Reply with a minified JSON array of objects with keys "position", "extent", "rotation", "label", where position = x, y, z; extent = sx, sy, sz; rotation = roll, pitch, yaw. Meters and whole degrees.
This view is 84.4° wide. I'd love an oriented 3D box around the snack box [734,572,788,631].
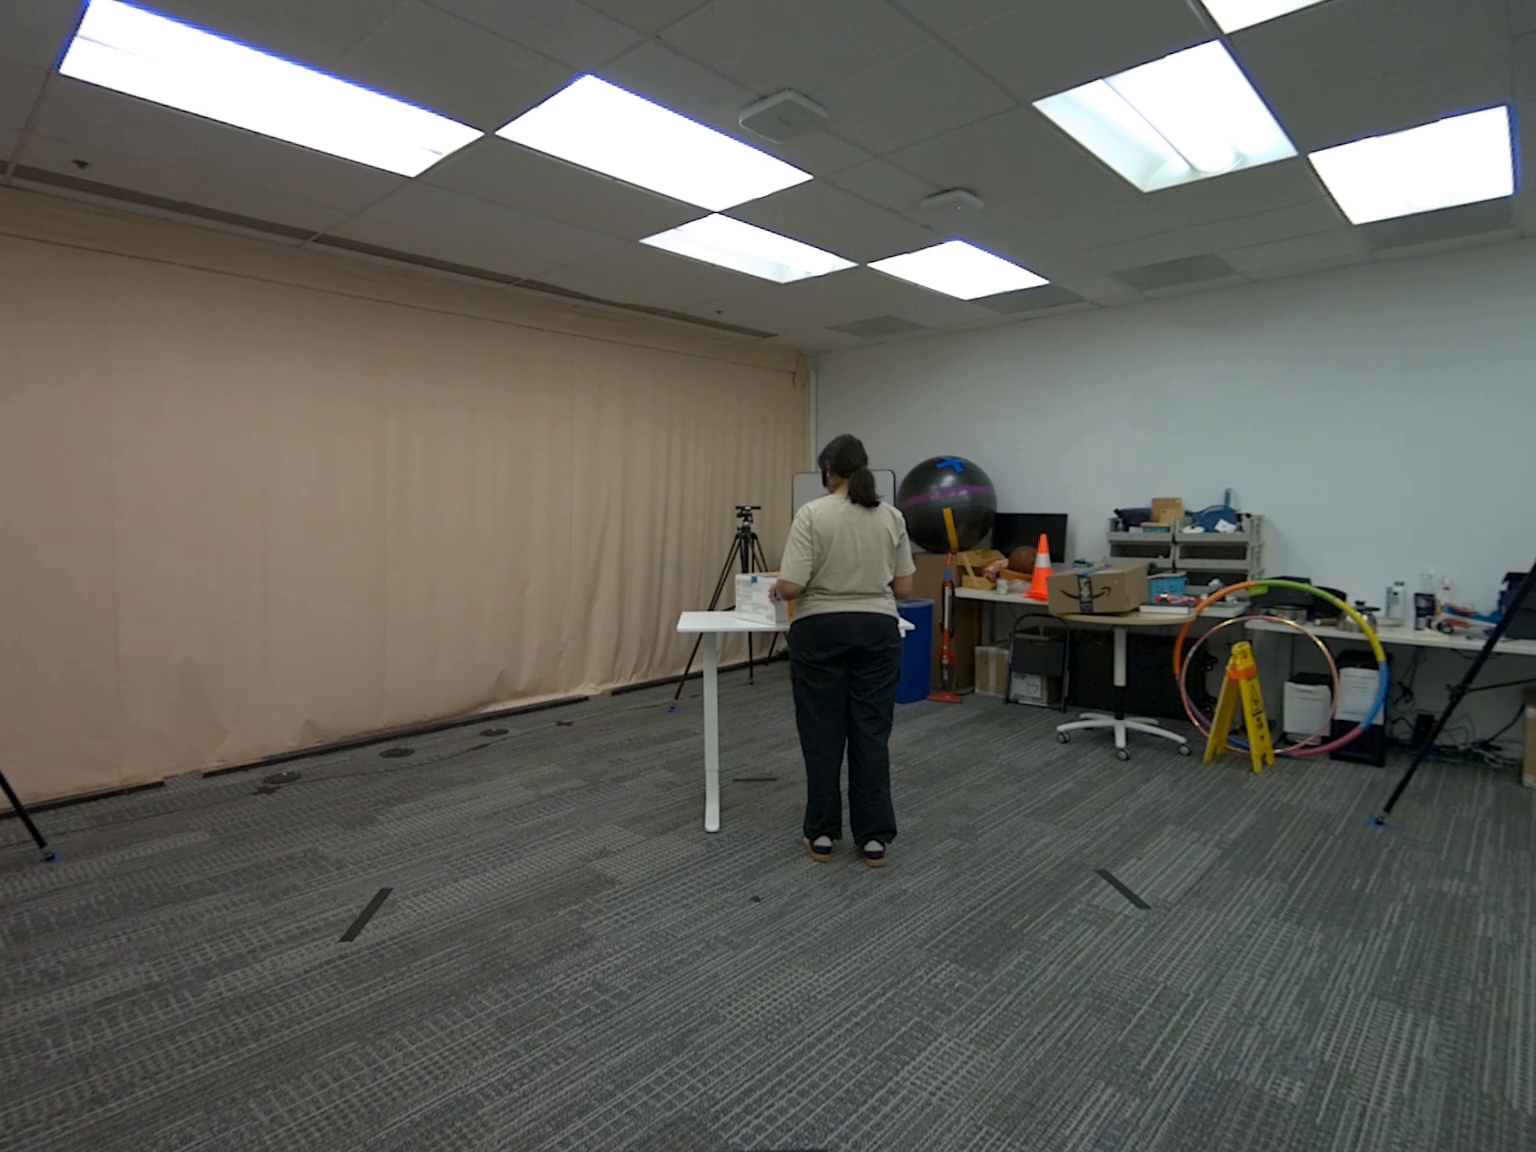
[{"position":[0.114,0.094,3.810],"extent":[0.394,0.205,0.350],"rotation":[-3,5,-32],"label":"snack box"}]
